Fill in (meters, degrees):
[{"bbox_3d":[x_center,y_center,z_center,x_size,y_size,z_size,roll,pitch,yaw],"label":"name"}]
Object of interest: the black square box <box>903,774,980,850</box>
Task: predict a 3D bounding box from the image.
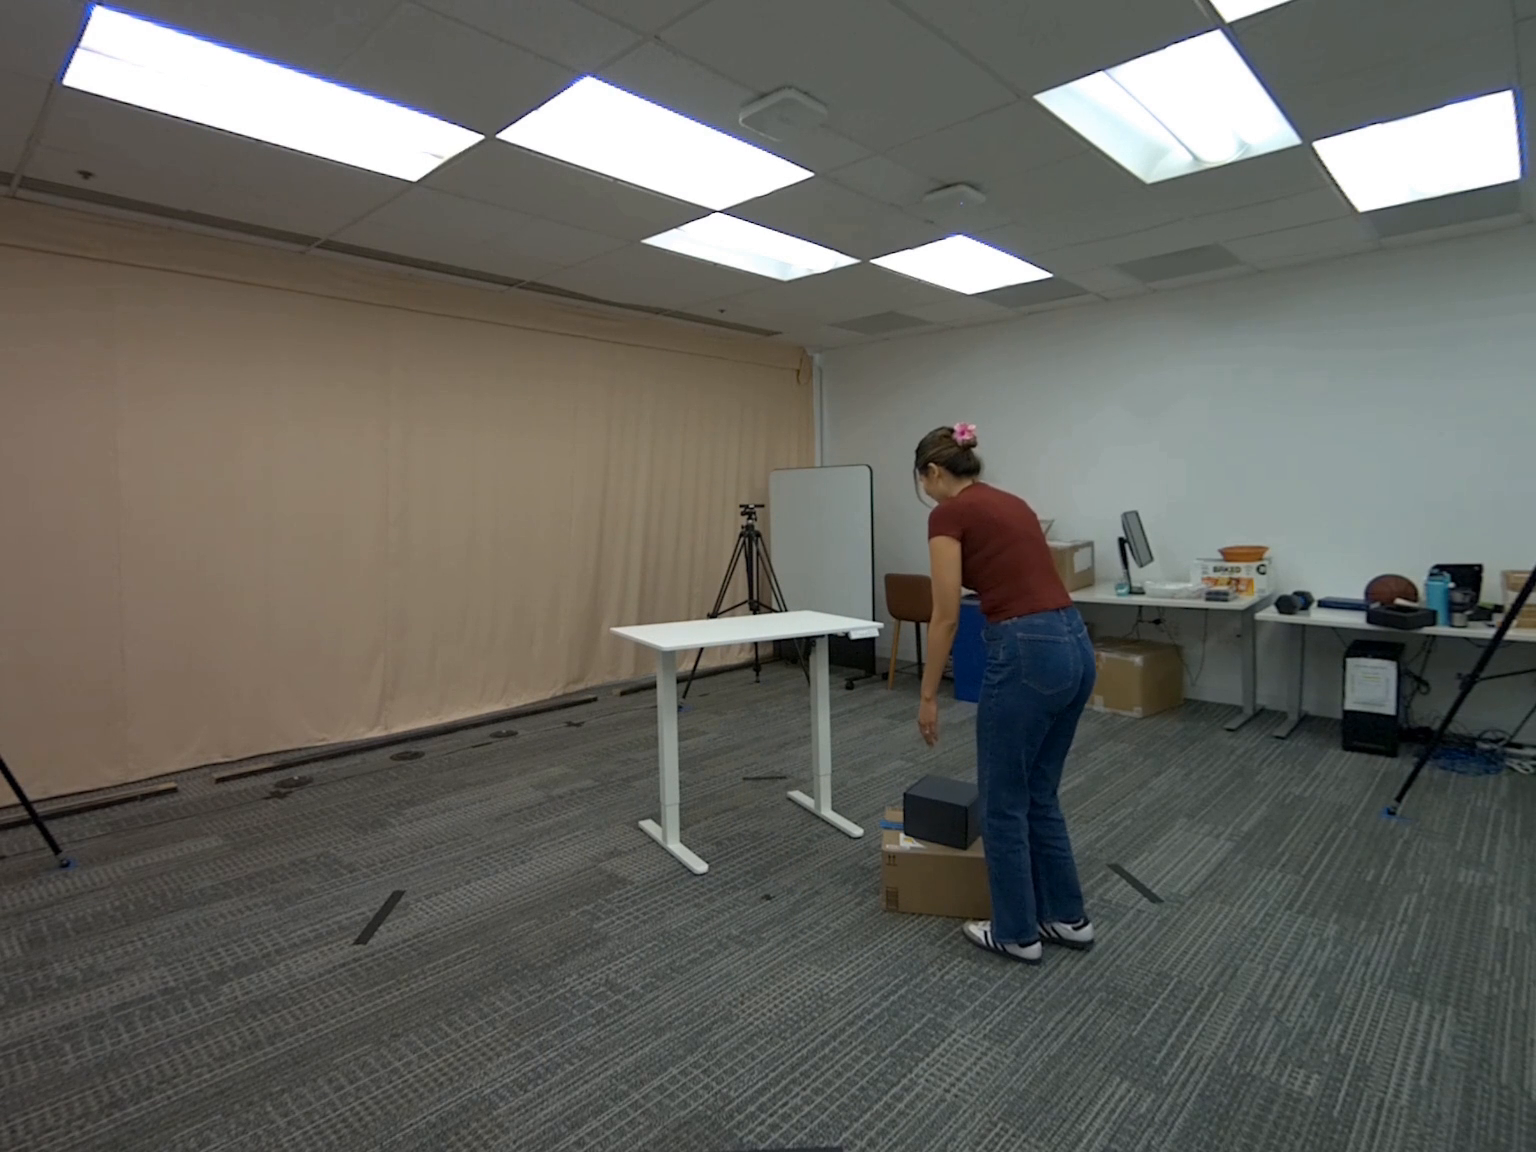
[{"bbox_3d":[0.634,0.825,2.972,0.235,0.155,0.211,4,8,34],"label":"black square box"}]
